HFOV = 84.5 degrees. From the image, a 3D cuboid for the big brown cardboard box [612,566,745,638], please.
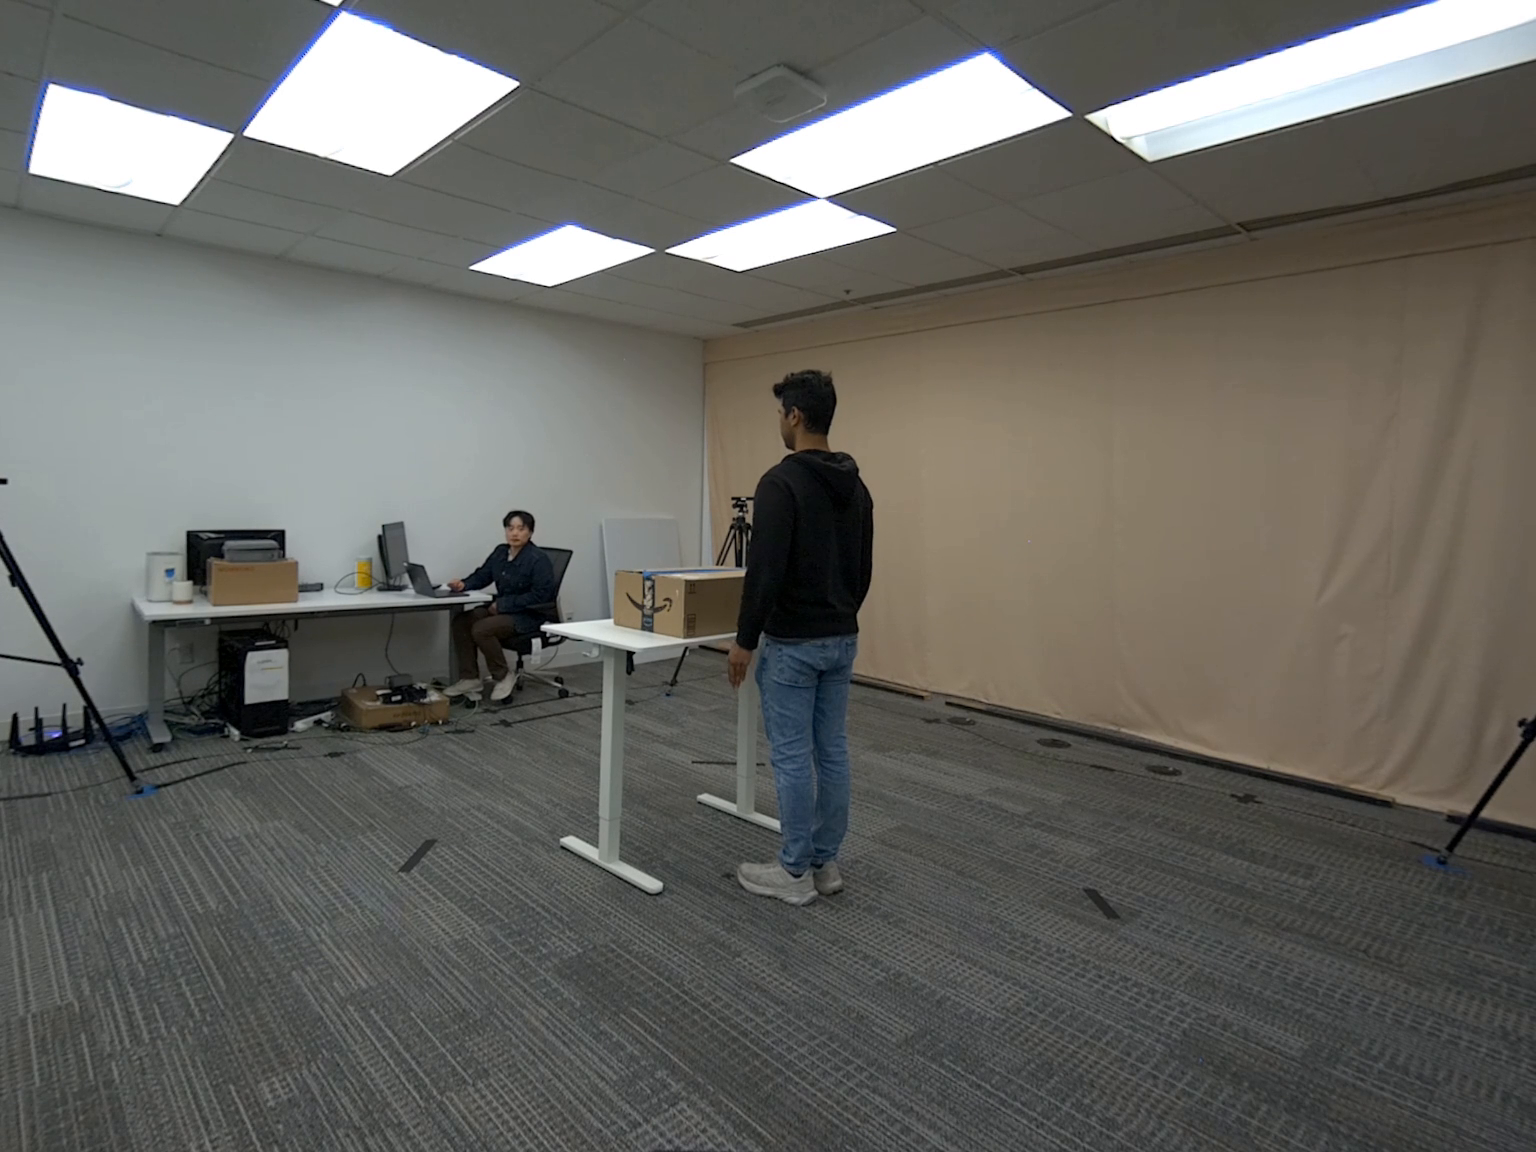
[{"bbox_3d":[-0.269,0.089,3.357,0.428,0.233,0.575,5,5,42],"label":"big brown cardboard box"}]
